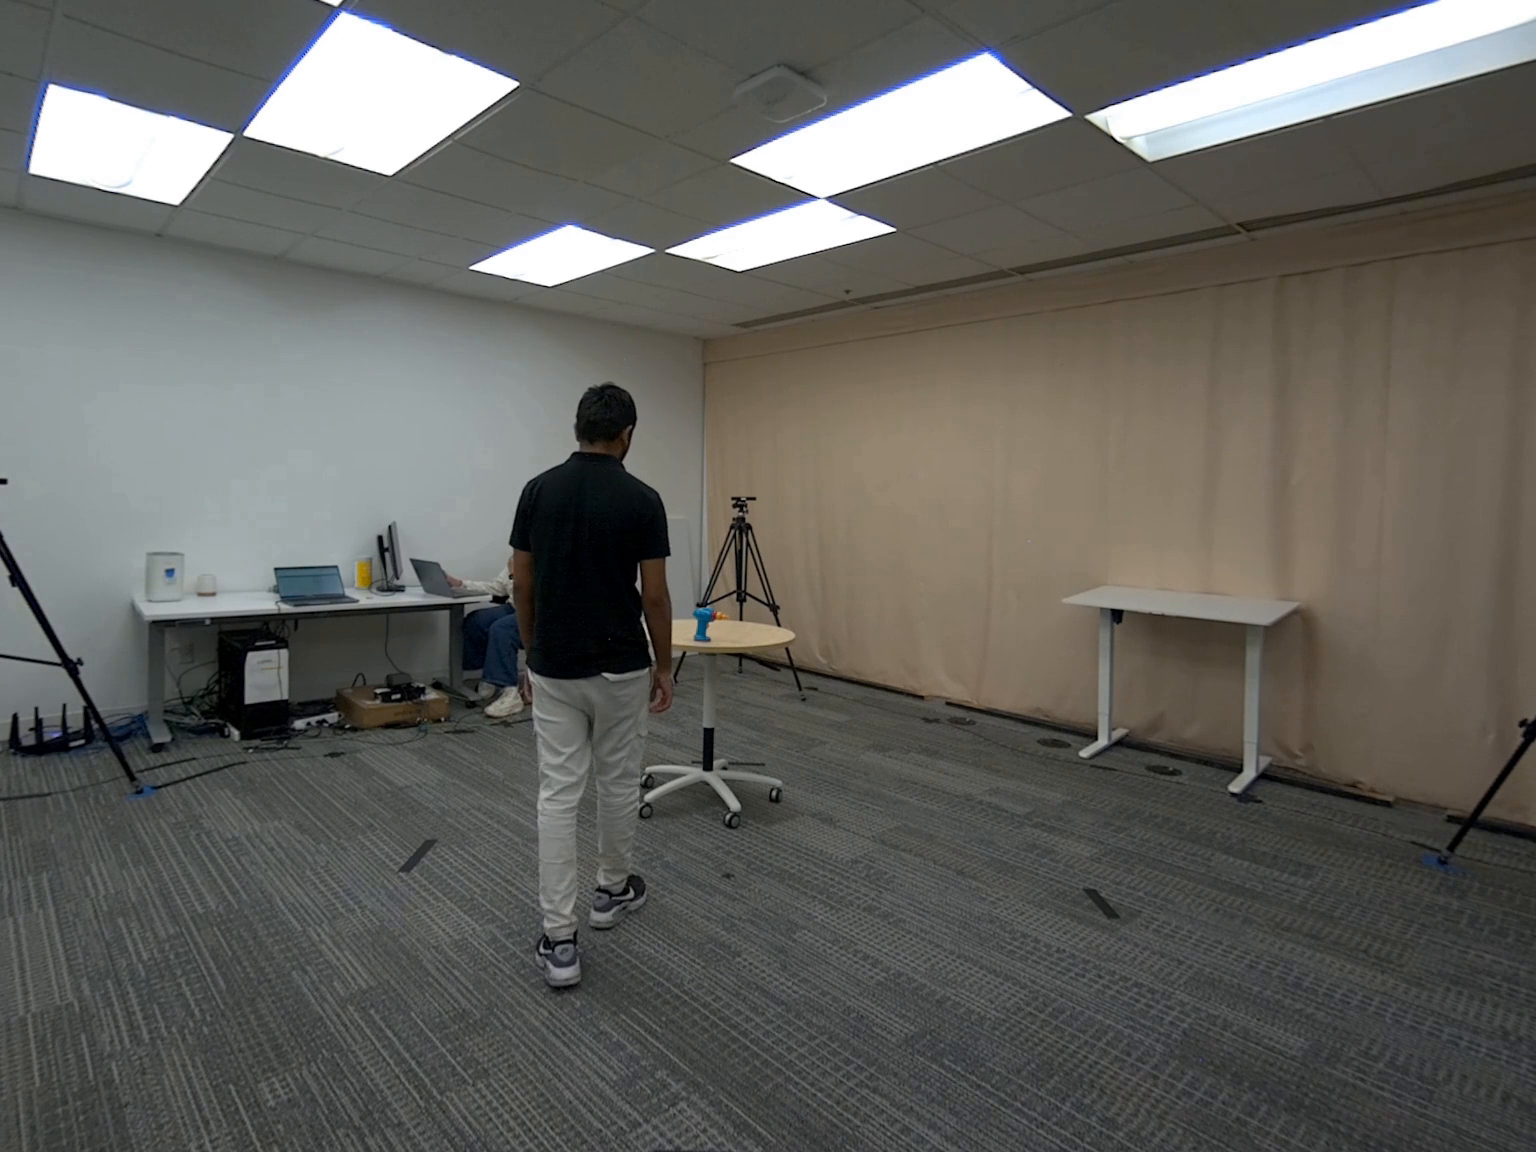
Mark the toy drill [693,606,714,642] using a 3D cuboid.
[{"bbox_3d":[-0.252,0.207,3.589,0.171,0.145,0.061,2,6,12],"label":"toy drill"}]
